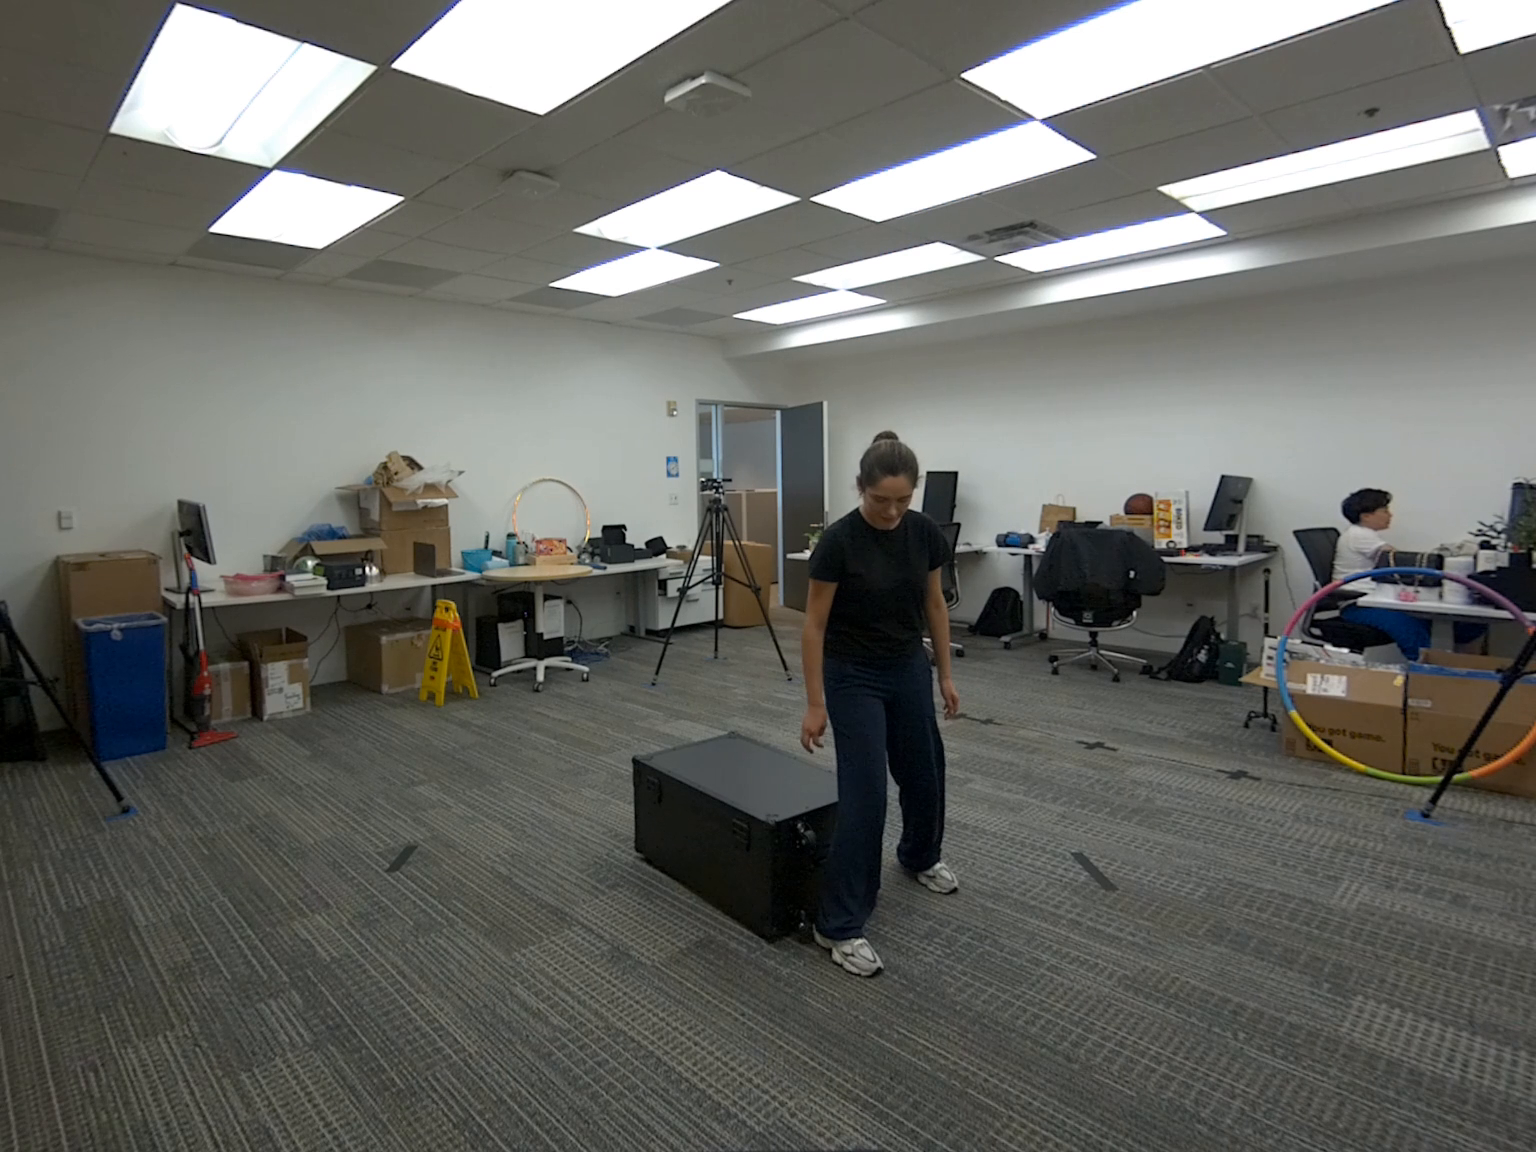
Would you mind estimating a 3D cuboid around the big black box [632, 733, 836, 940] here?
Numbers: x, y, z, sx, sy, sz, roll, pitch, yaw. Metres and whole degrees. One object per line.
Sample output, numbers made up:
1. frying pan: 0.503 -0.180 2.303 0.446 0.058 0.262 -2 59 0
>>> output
1. big black box: -0.081 0.865 3.037 0.508 0.394 0.888 -5 8 -39
